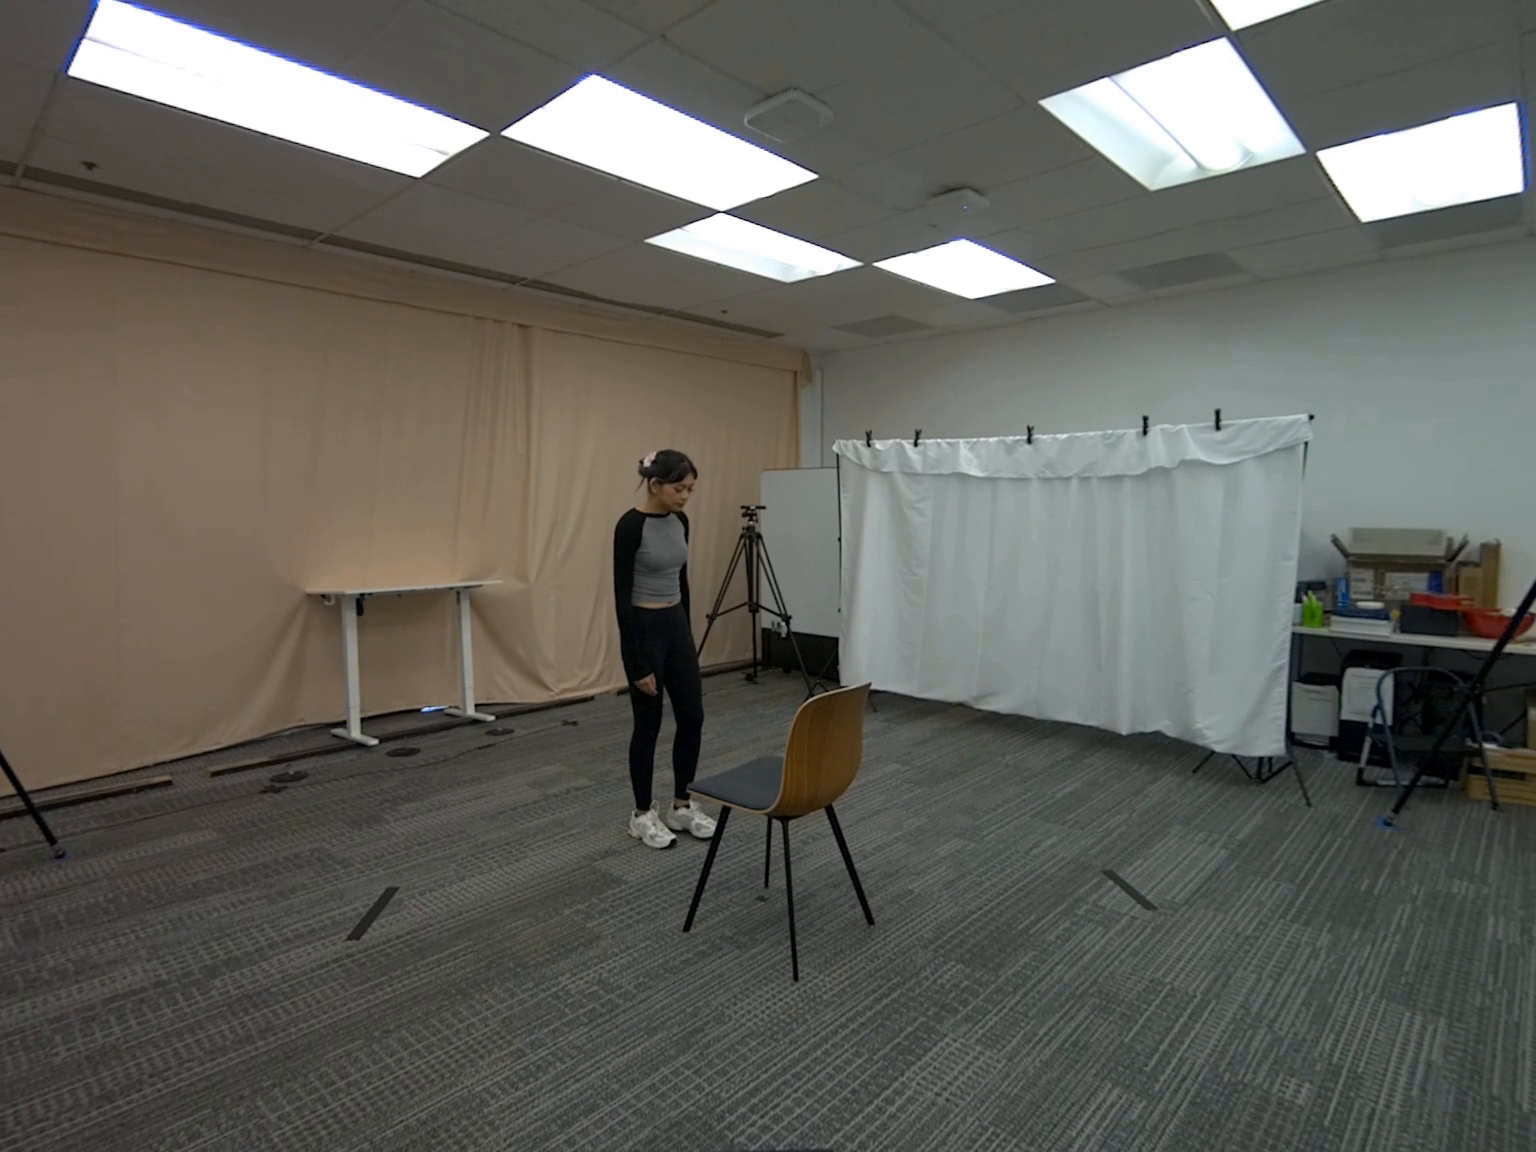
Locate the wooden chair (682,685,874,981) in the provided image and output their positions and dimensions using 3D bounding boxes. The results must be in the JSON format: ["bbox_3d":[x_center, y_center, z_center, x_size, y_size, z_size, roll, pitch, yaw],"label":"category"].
[{"bbox_3d":[0.036,0.735,2.752,0.541,0.874,0.464,8,8,38],"label":"wooden chair"}]
